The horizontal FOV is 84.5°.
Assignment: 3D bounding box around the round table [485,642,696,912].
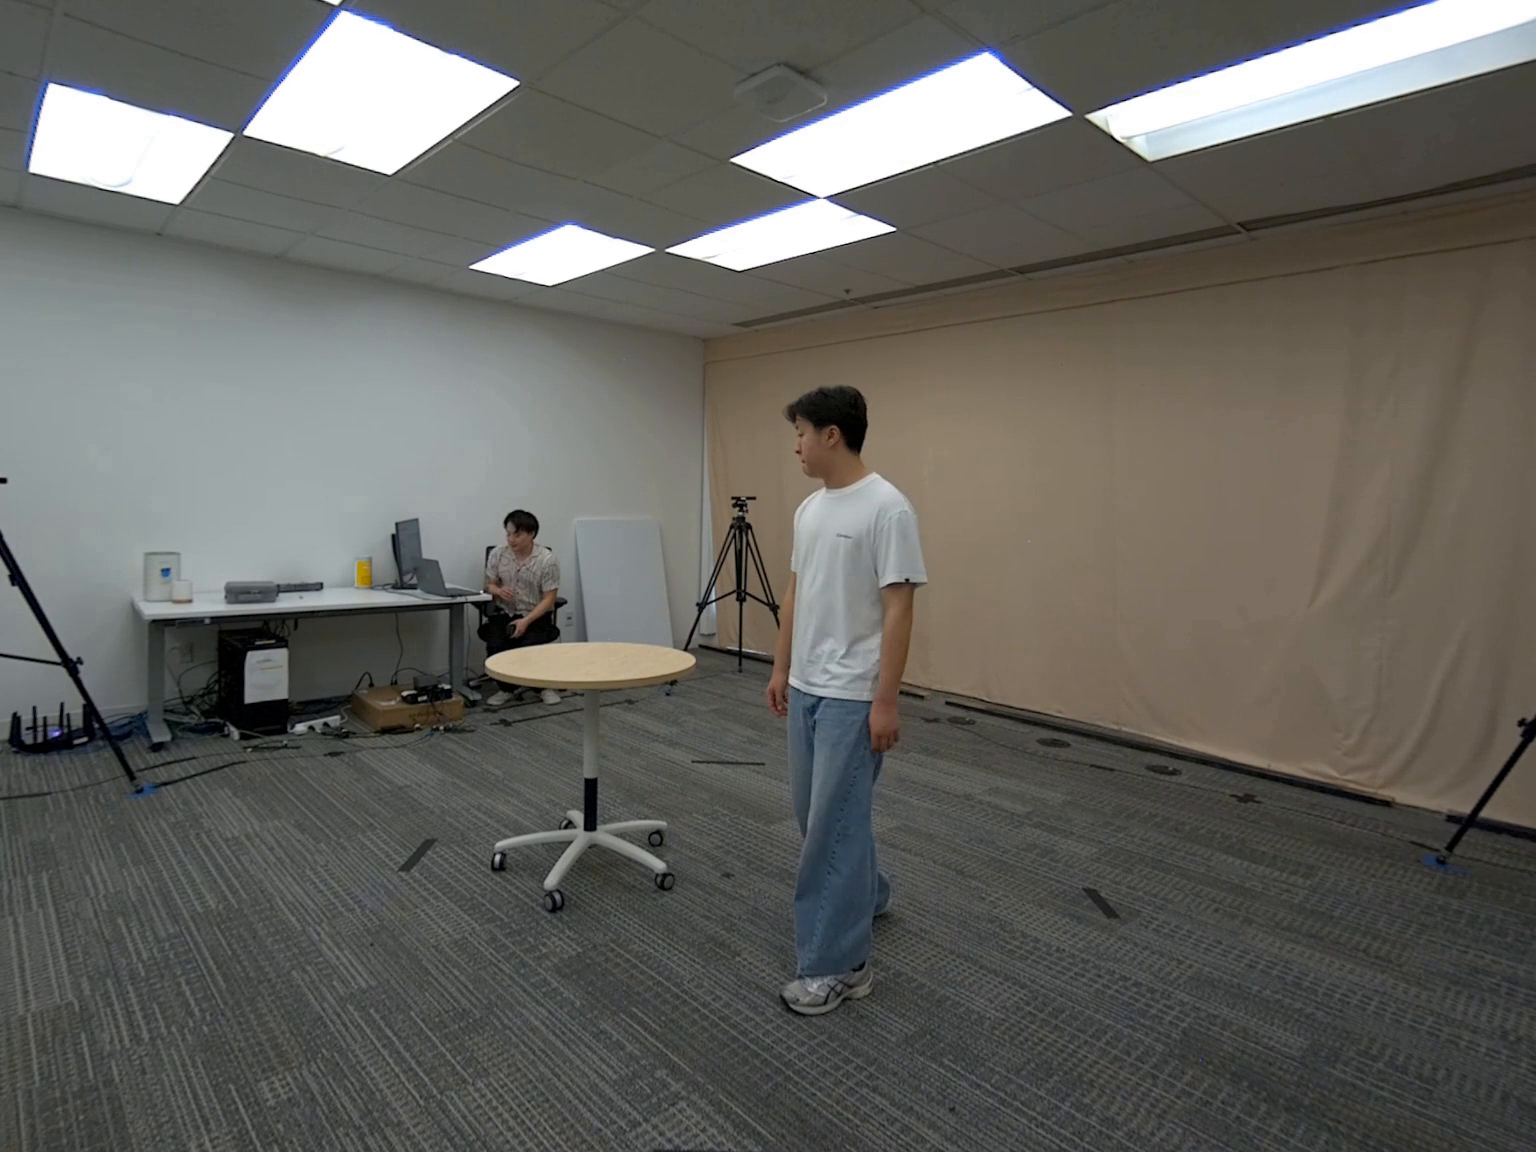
[{"bbox_3d":[-0.666,0.697,3.149,0.784,0.784,0.788,1,4,-1],"label":"round table"}]
